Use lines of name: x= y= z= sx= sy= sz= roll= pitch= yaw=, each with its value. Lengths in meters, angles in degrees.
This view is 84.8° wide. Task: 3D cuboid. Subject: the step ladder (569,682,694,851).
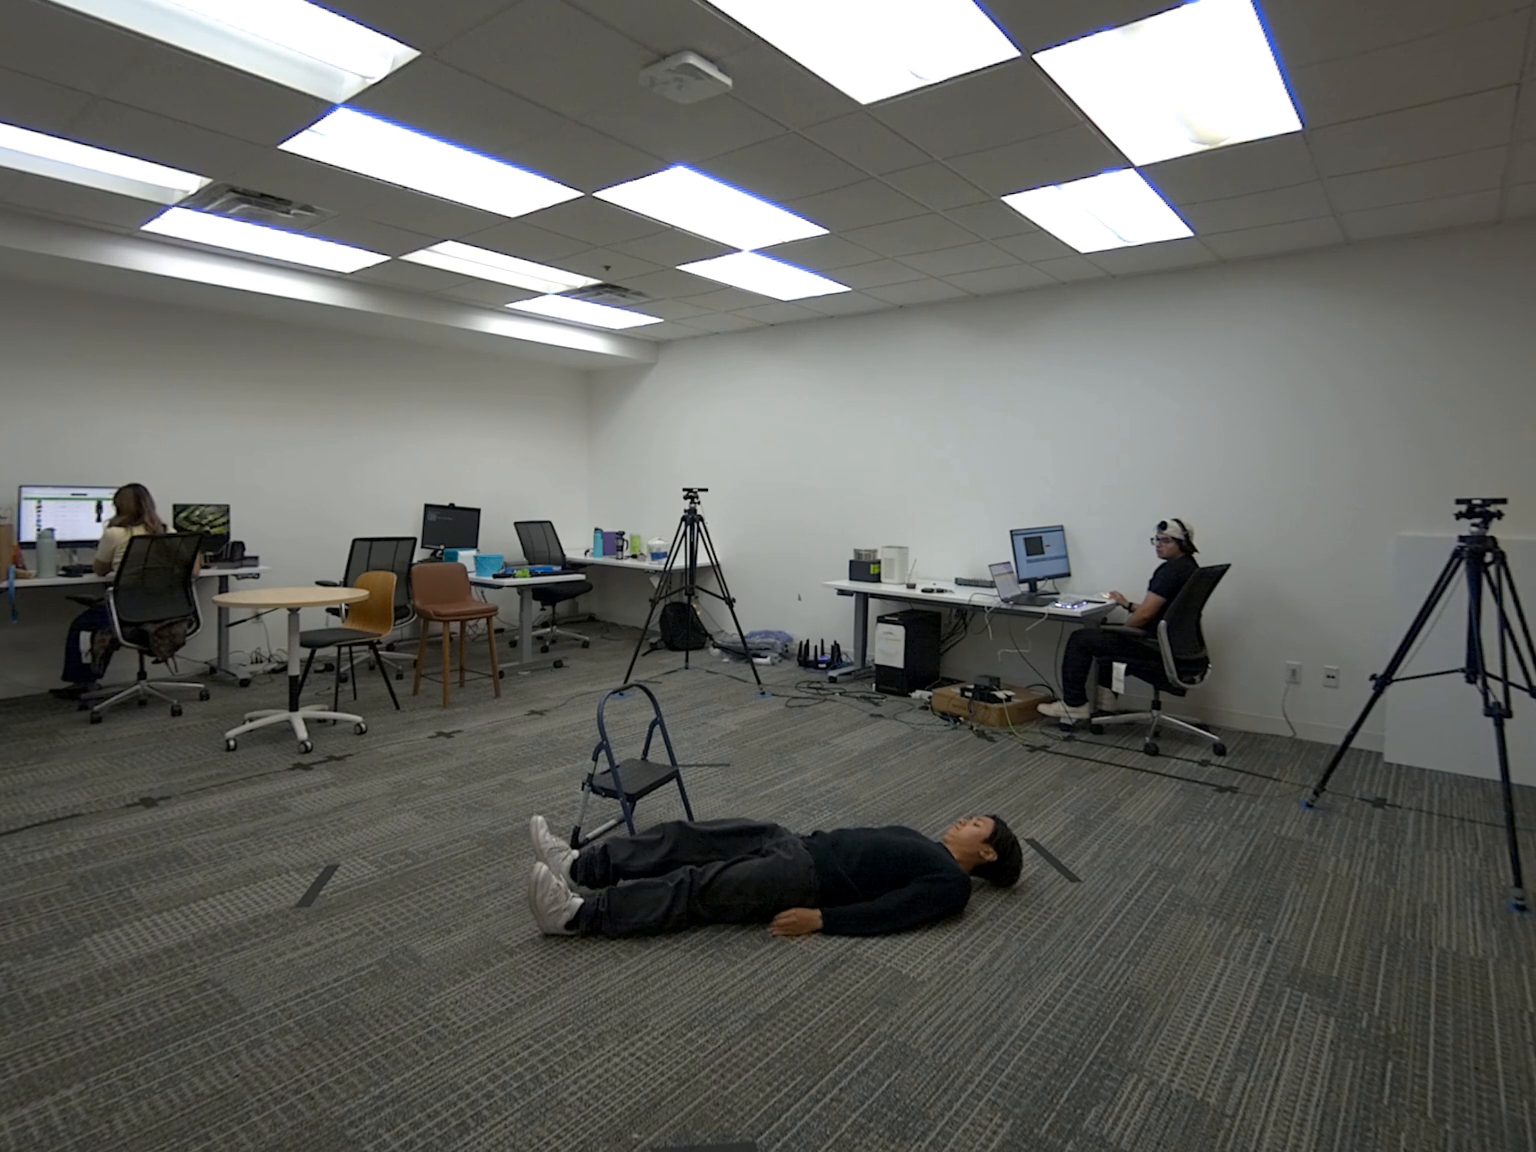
step ladder: x=-0.526 y=0.737 z=3.343 sx=0.358 sy=0.604 sz=0.421 roll=3 pitch=4 yaw=25
